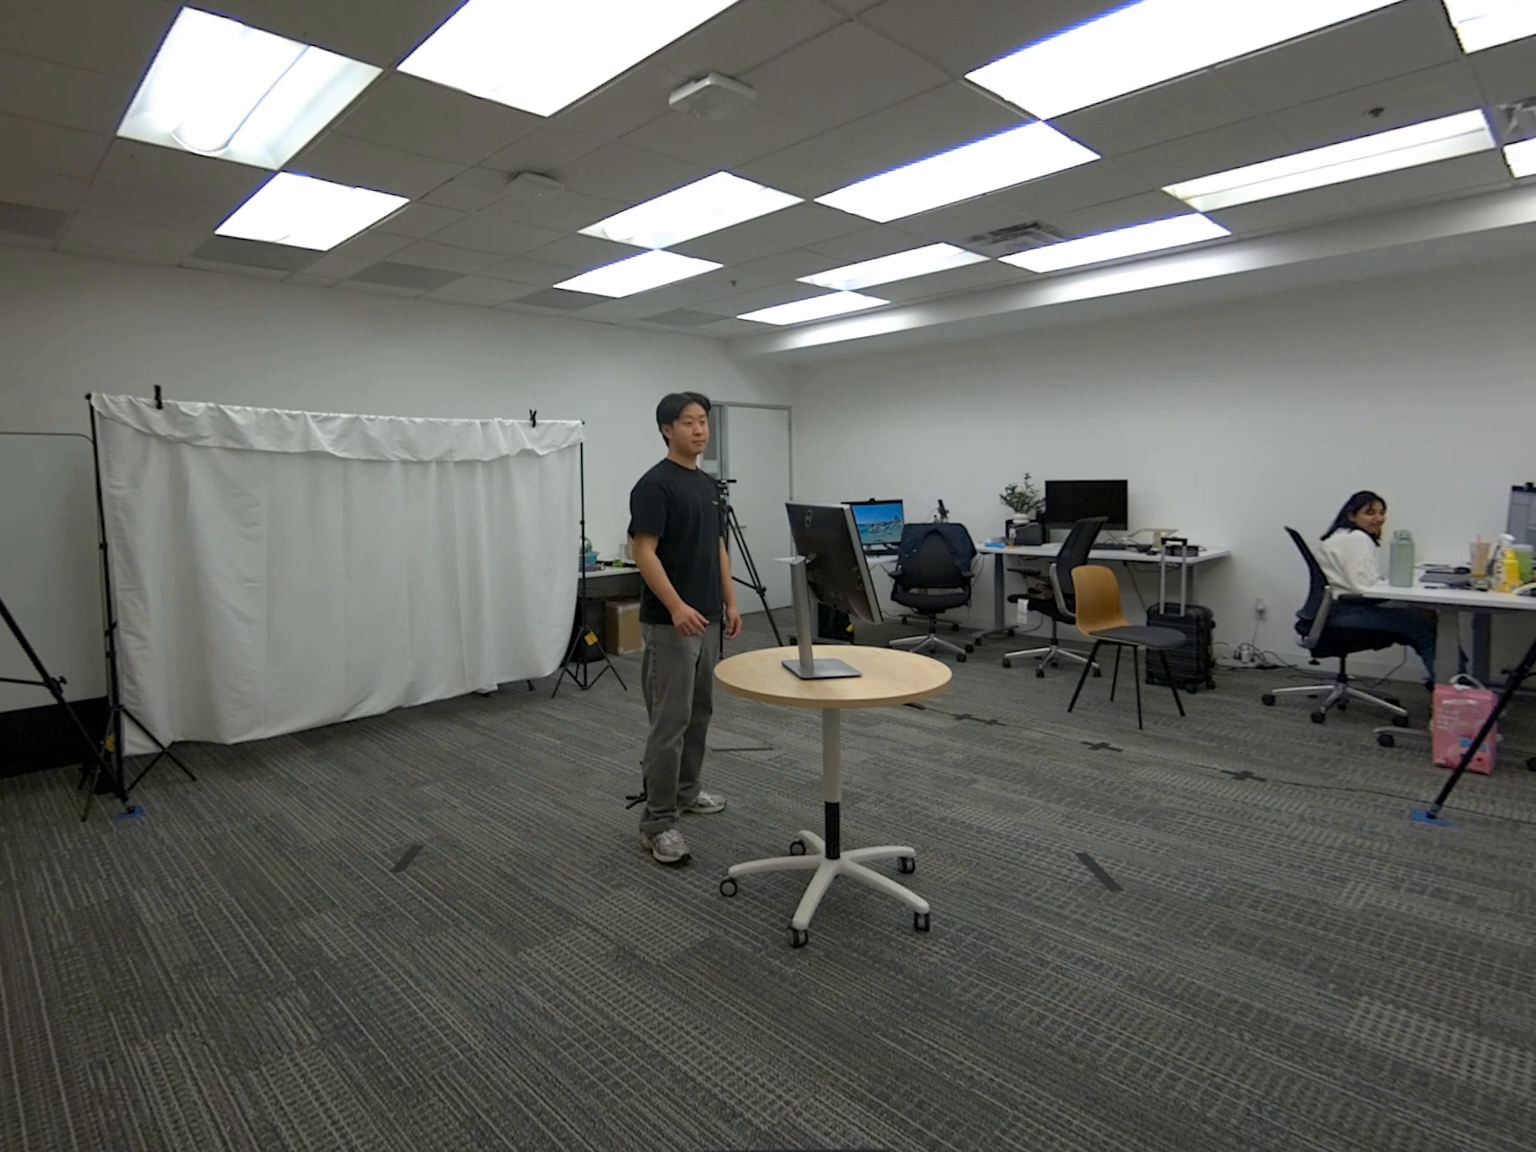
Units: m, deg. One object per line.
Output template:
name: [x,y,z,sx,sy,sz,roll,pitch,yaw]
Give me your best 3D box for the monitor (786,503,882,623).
monitor: [0.181,0.044,2.754,0.220,0.563,0.571,-1,5,-13]
